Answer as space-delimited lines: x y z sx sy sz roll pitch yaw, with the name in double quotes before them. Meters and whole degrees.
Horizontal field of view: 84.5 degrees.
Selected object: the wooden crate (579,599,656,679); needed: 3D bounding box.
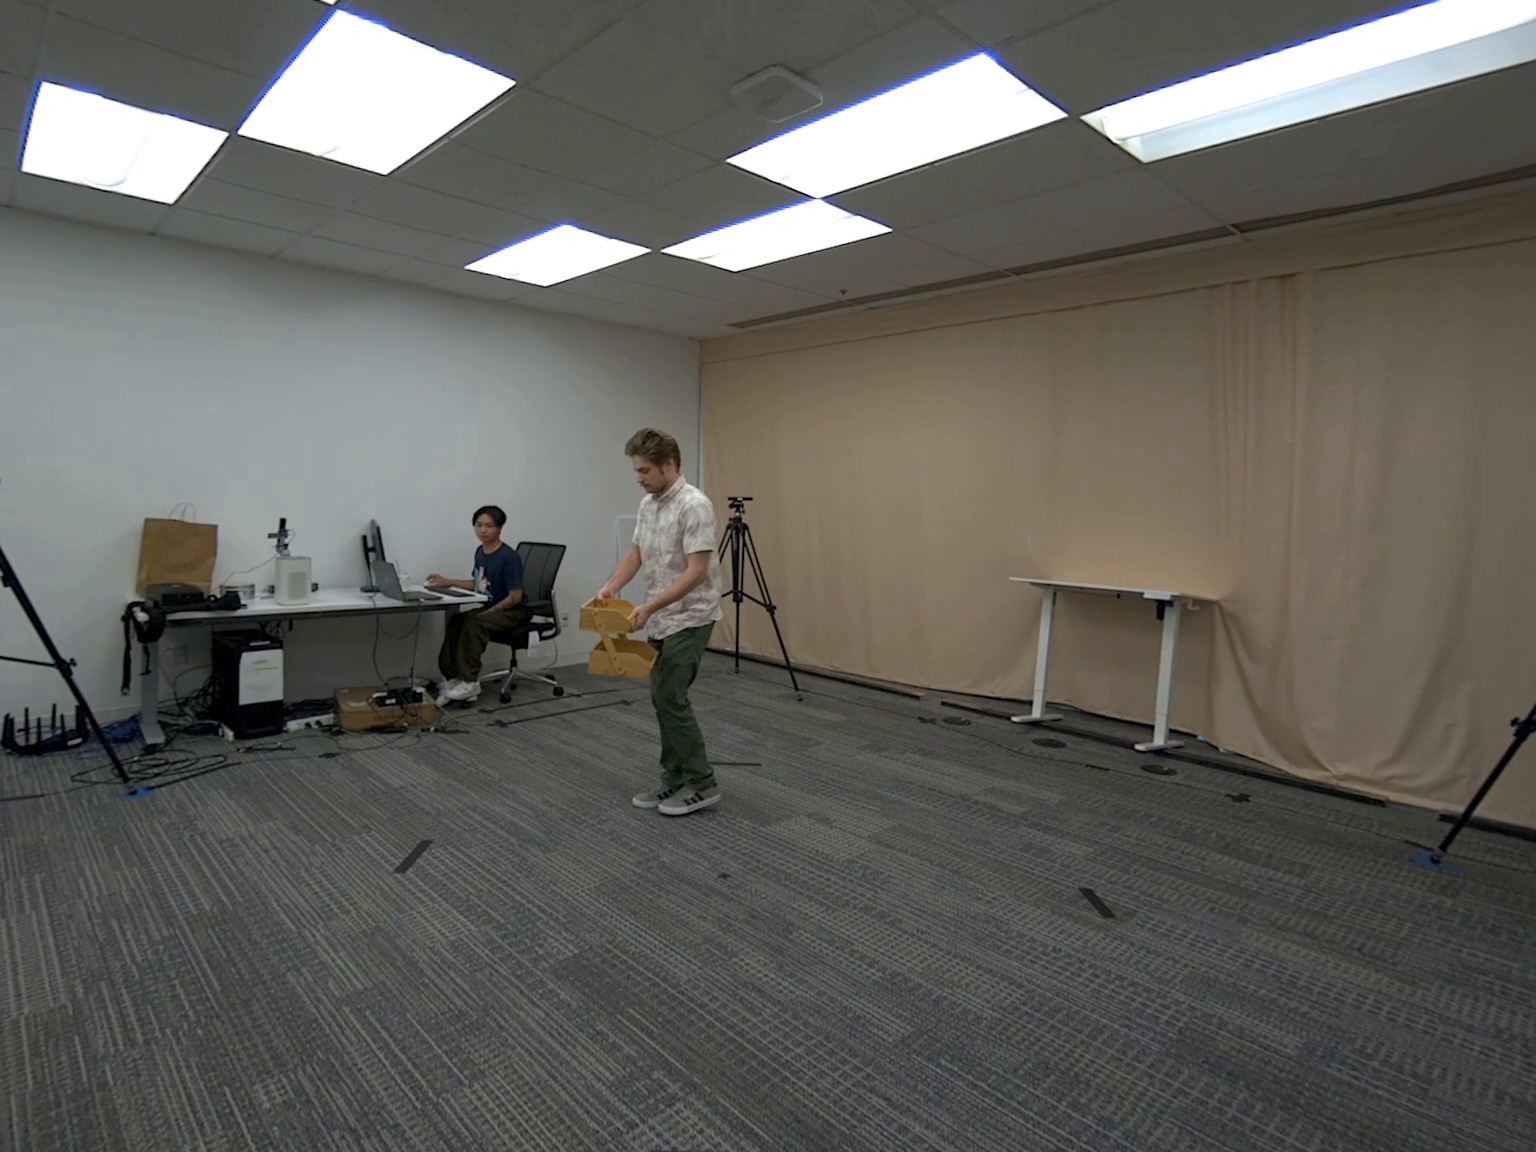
"wooden crate" -0.607 0.254 3.474 0.301 0.273 0.326 8 4 -2
